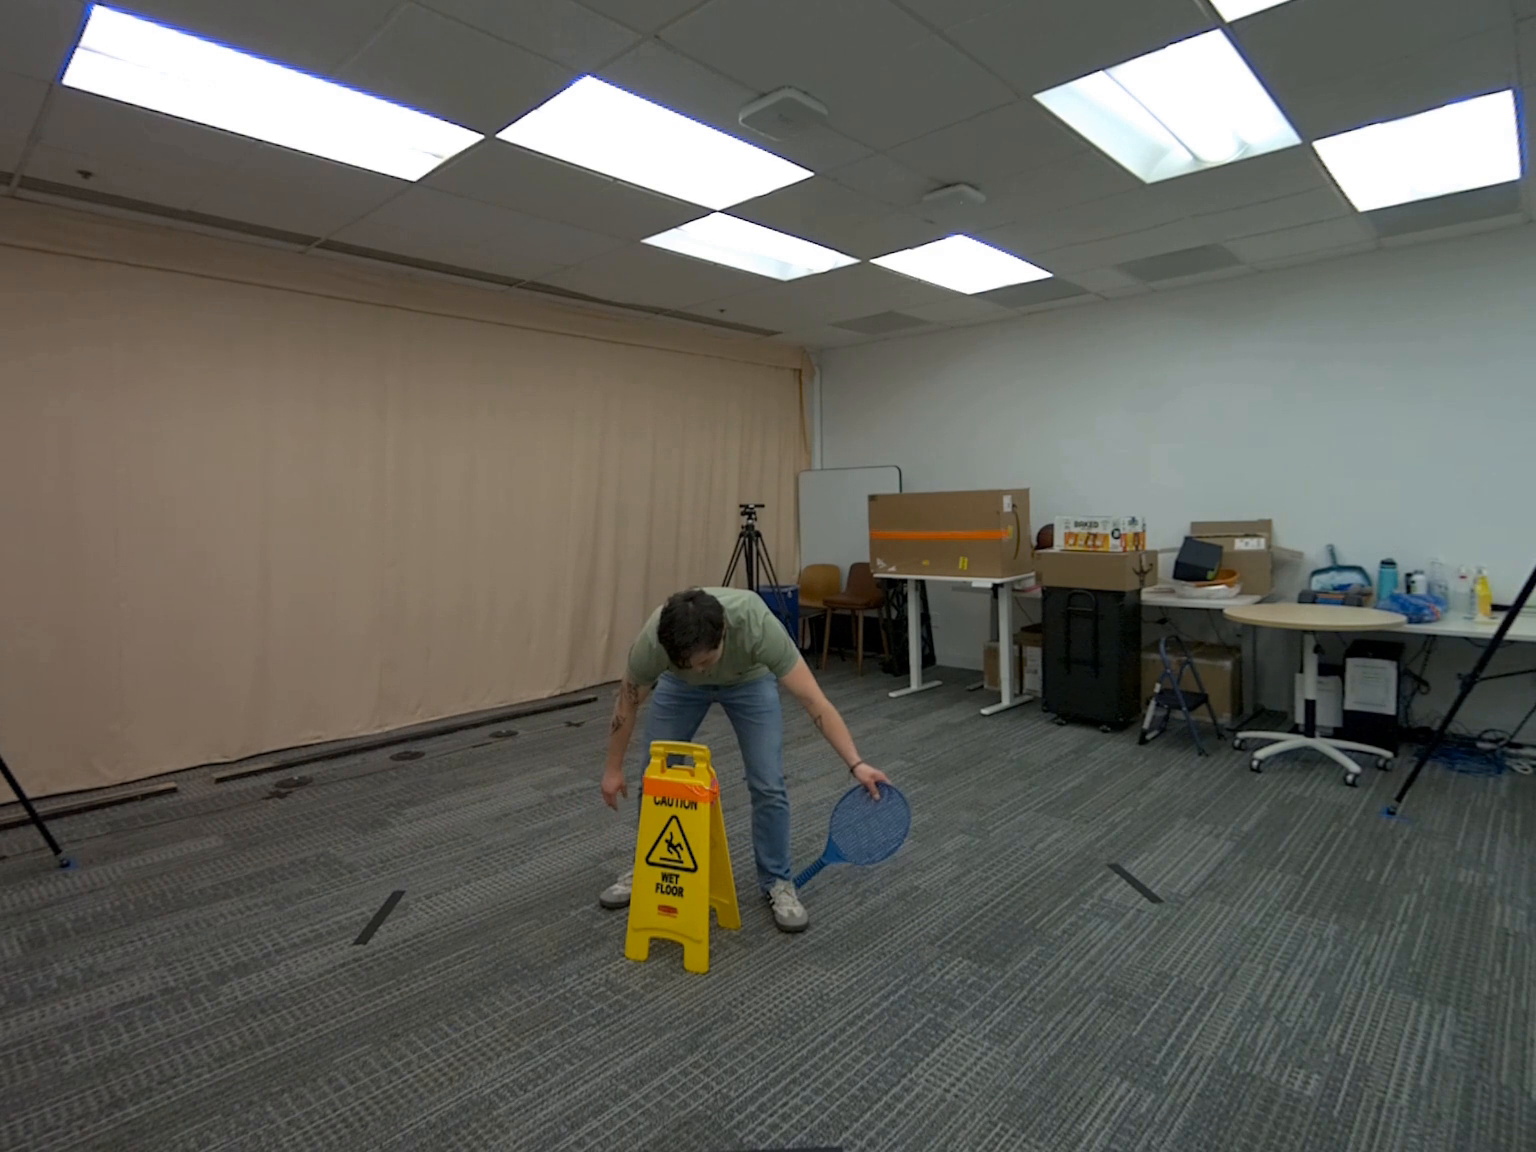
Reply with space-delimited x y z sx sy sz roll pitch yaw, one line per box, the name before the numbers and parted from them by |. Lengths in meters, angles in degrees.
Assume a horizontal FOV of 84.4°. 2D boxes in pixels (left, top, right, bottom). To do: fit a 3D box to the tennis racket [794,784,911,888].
tennis racket | 0.250 0.784 2.500 0.220 0.434 0.031 49 11 27
